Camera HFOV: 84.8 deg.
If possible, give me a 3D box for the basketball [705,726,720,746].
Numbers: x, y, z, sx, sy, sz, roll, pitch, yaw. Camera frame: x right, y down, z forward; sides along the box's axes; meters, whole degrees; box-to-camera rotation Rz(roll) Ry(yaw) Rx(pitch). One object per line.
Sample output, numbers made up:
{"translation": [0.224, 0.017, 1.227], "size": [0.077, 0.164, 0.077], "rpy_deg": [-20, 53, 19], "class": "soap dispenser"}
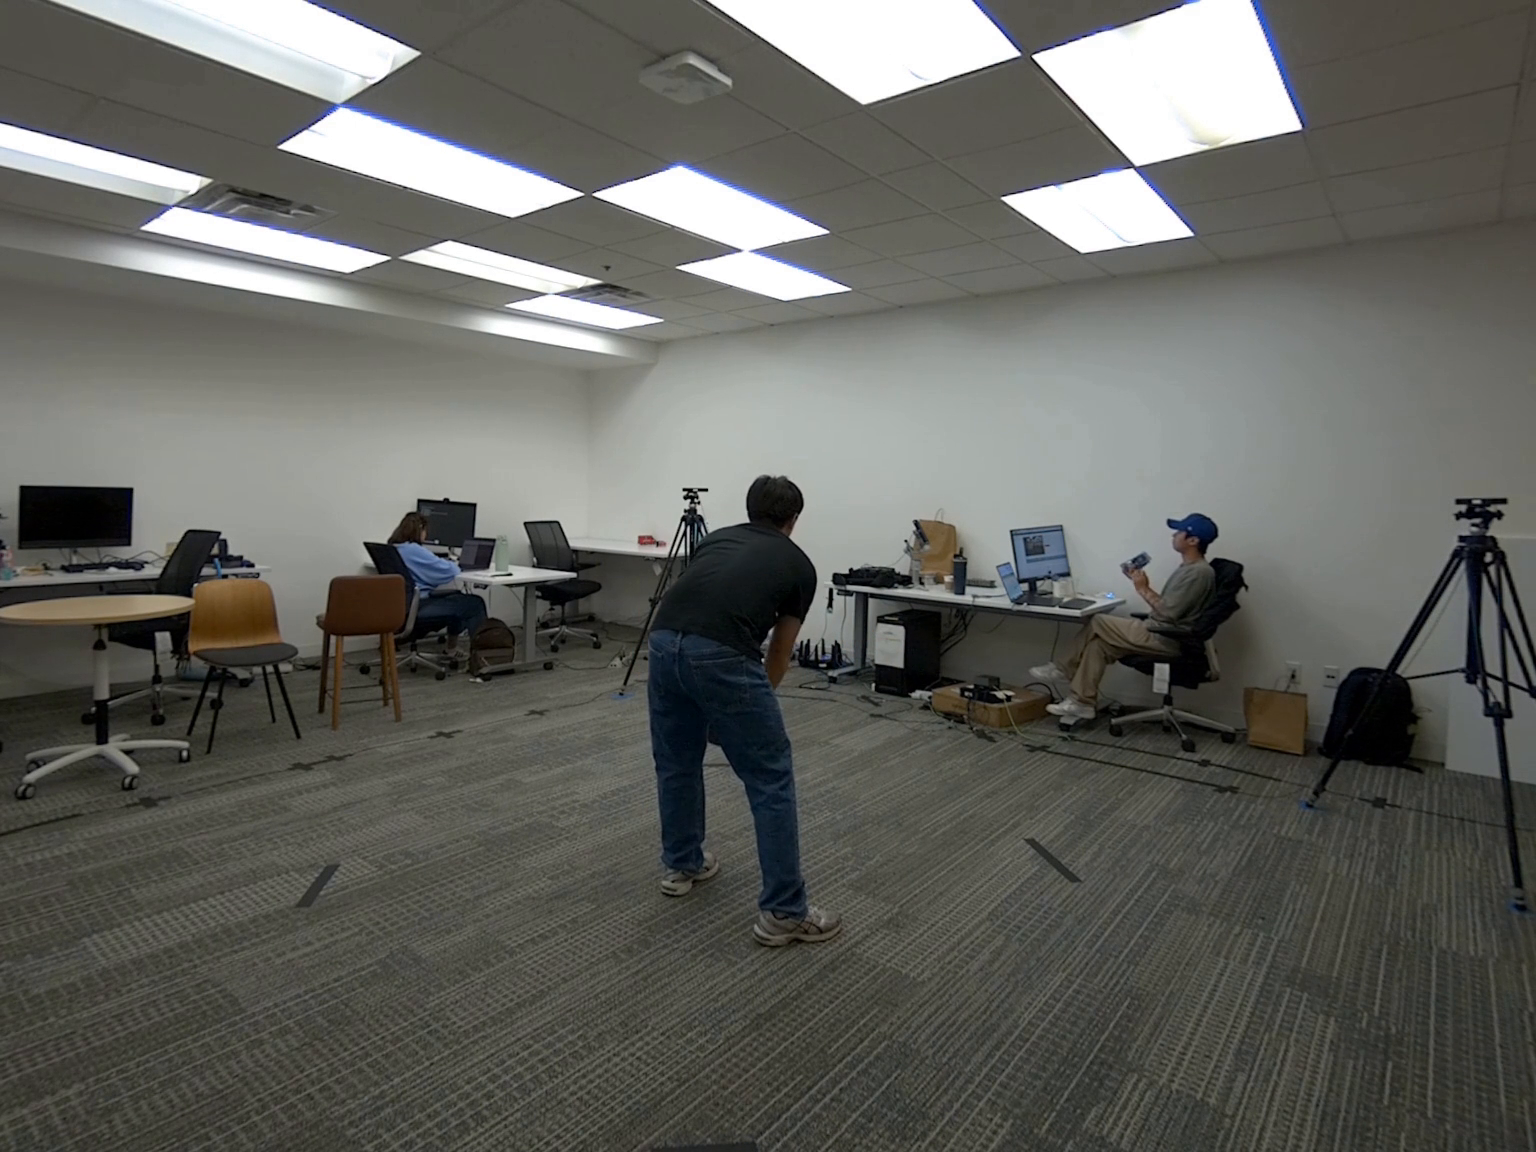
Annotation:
{"translation": [-0.185, 0.504, 3.201], "size": [0.235, 0.235, 0.237], "rpy_deg": [1, 4, -2], "class": "basketball"}
